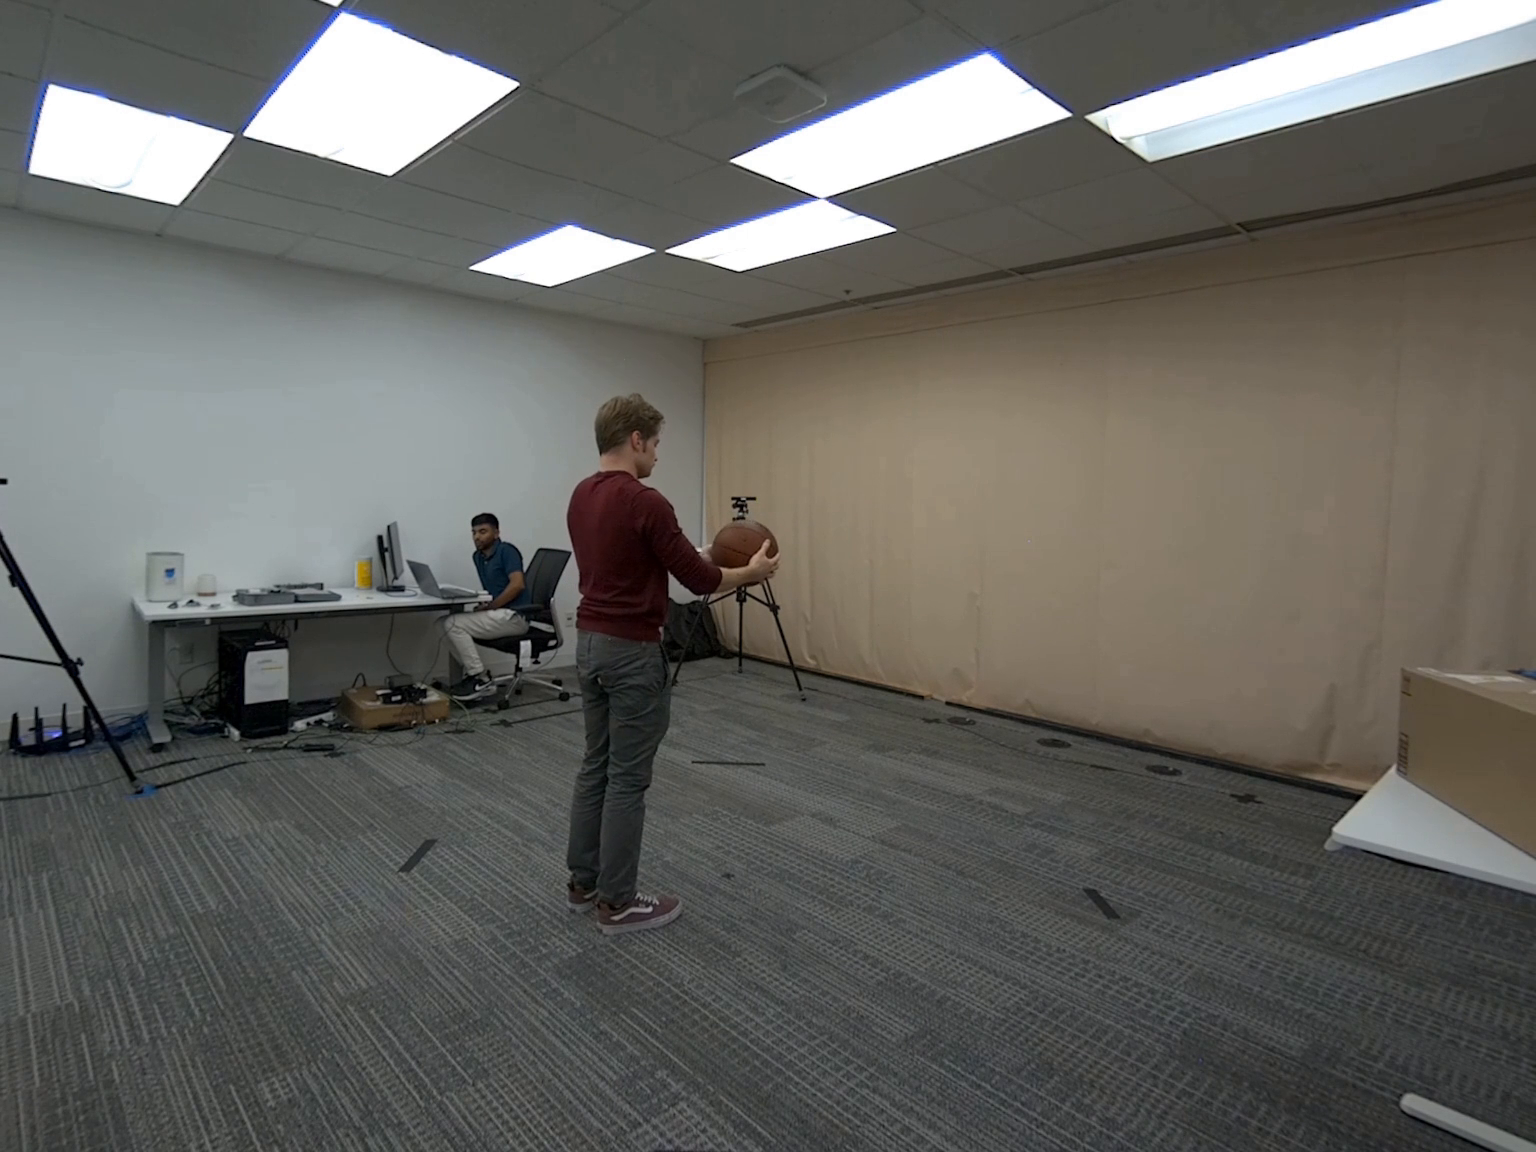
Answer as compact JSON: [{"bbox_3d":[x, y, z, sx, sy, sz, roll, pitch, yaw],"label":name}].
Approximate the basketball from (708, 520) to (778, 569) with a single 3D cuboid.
[{"bbox_3d":[-0.087,-0.093,2.992,0.236,0.235,0.237,1,4,-1],"label":"basketball"}]
